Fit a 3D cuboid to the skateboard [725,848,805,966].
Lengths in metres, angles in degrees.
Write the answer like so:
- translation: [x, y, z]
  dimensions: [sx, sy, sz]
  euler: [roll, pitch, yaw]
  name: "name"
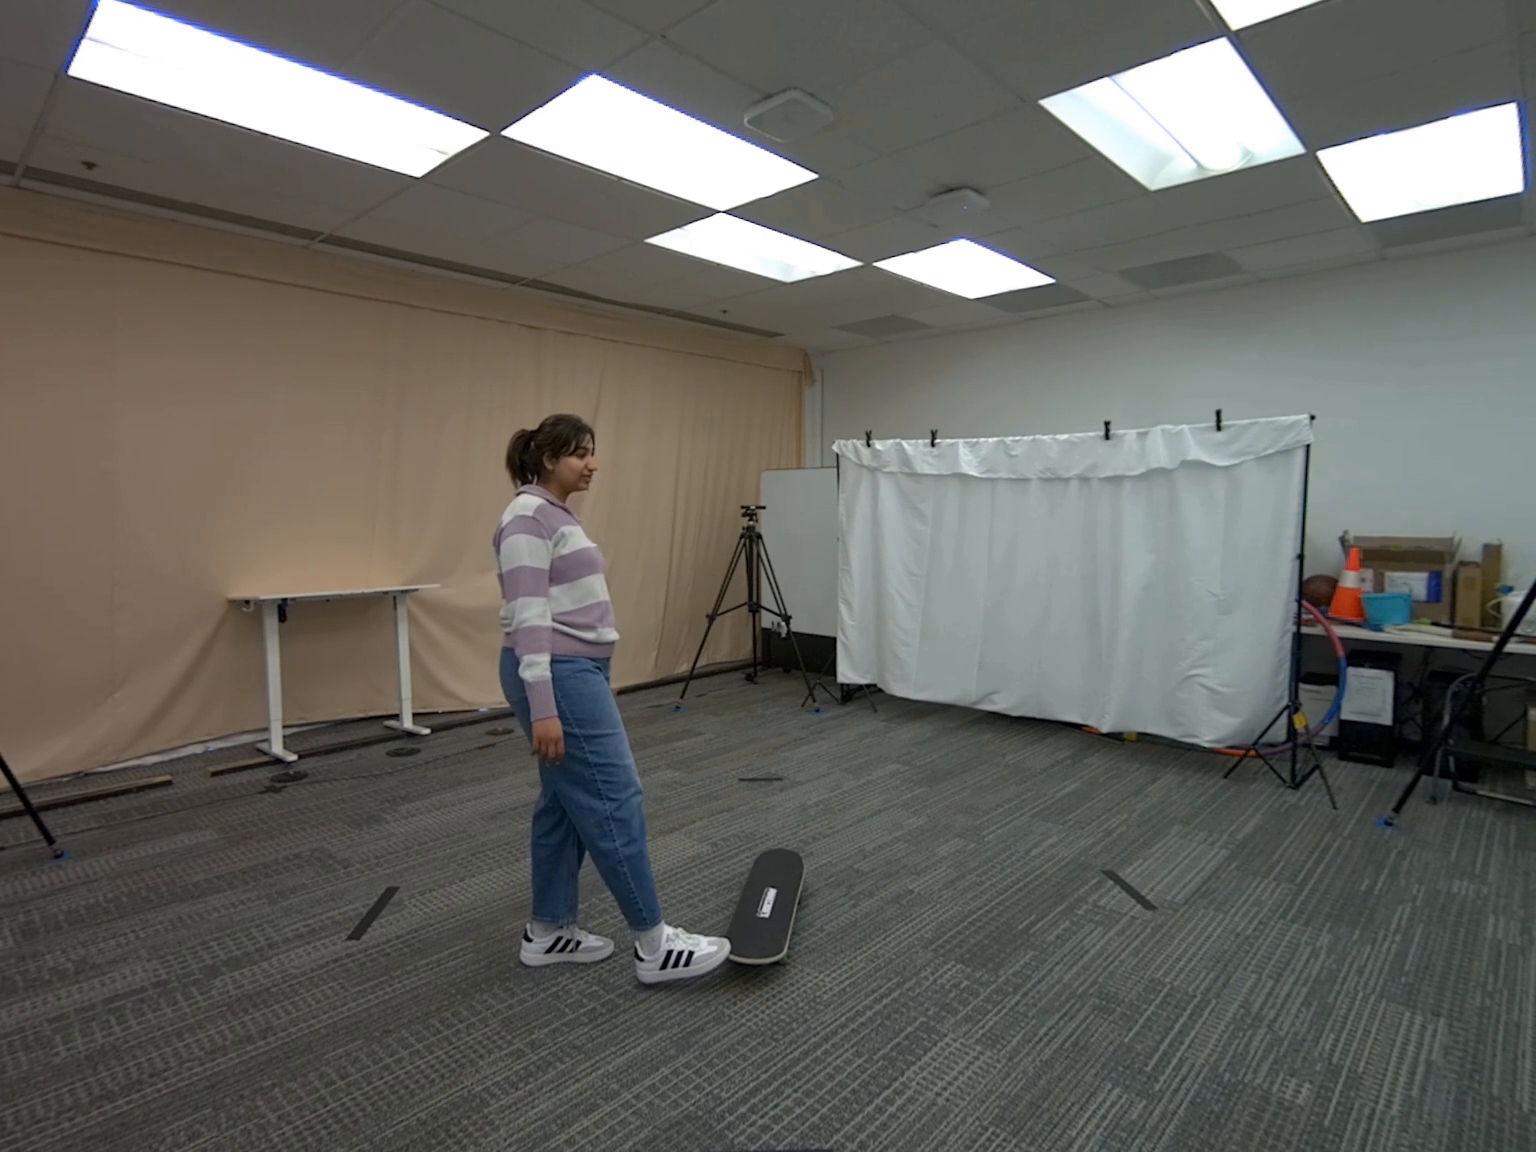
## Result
- translation: [-0.001, 1.104, 2.772]
  dimensions: [0.195, 0.110, 0.779]
  euler: [0, 5, 8]
  name: "skateboard"
